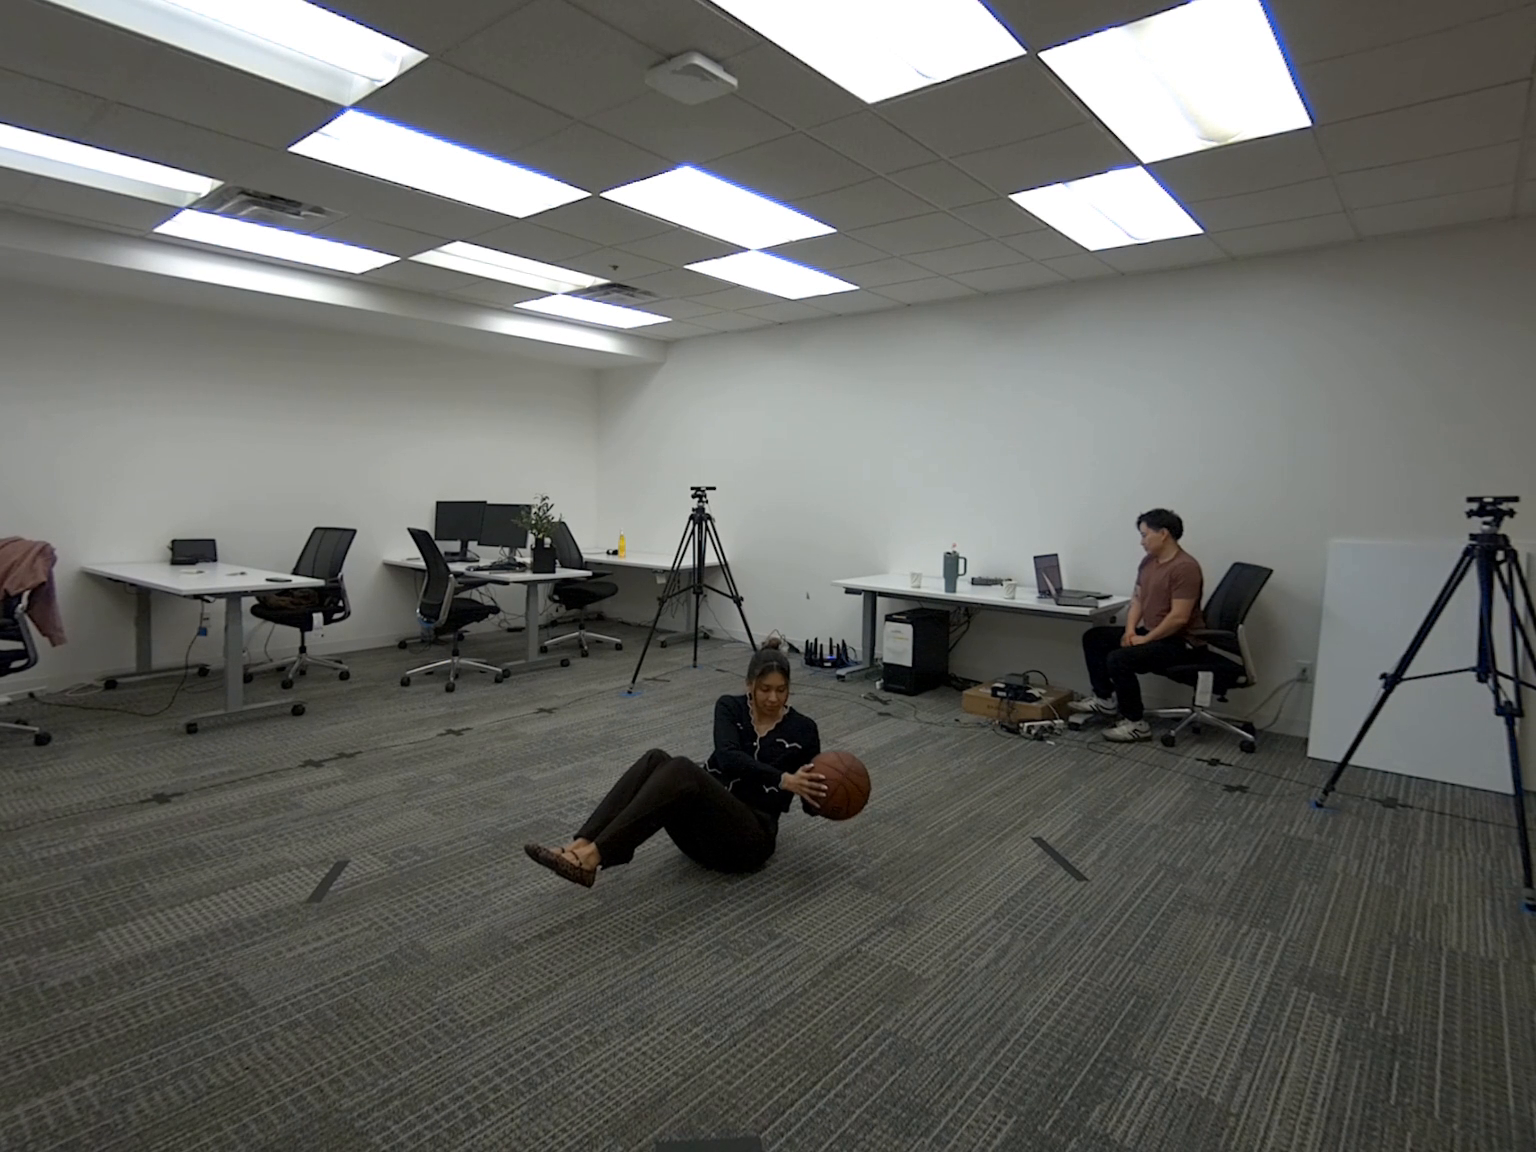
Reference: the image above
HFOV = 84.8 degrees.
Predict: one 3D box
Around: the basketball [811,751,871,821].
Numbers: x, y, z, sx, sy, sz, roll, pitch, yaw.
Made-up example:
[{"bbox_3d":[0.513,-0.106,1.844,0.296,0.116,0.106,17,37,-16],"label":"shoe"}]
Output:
[{"bbox_3d":[0.220,0.713,2.965,0.235,0.235,0.237,1,4,-2],"label":"basketball"}]
